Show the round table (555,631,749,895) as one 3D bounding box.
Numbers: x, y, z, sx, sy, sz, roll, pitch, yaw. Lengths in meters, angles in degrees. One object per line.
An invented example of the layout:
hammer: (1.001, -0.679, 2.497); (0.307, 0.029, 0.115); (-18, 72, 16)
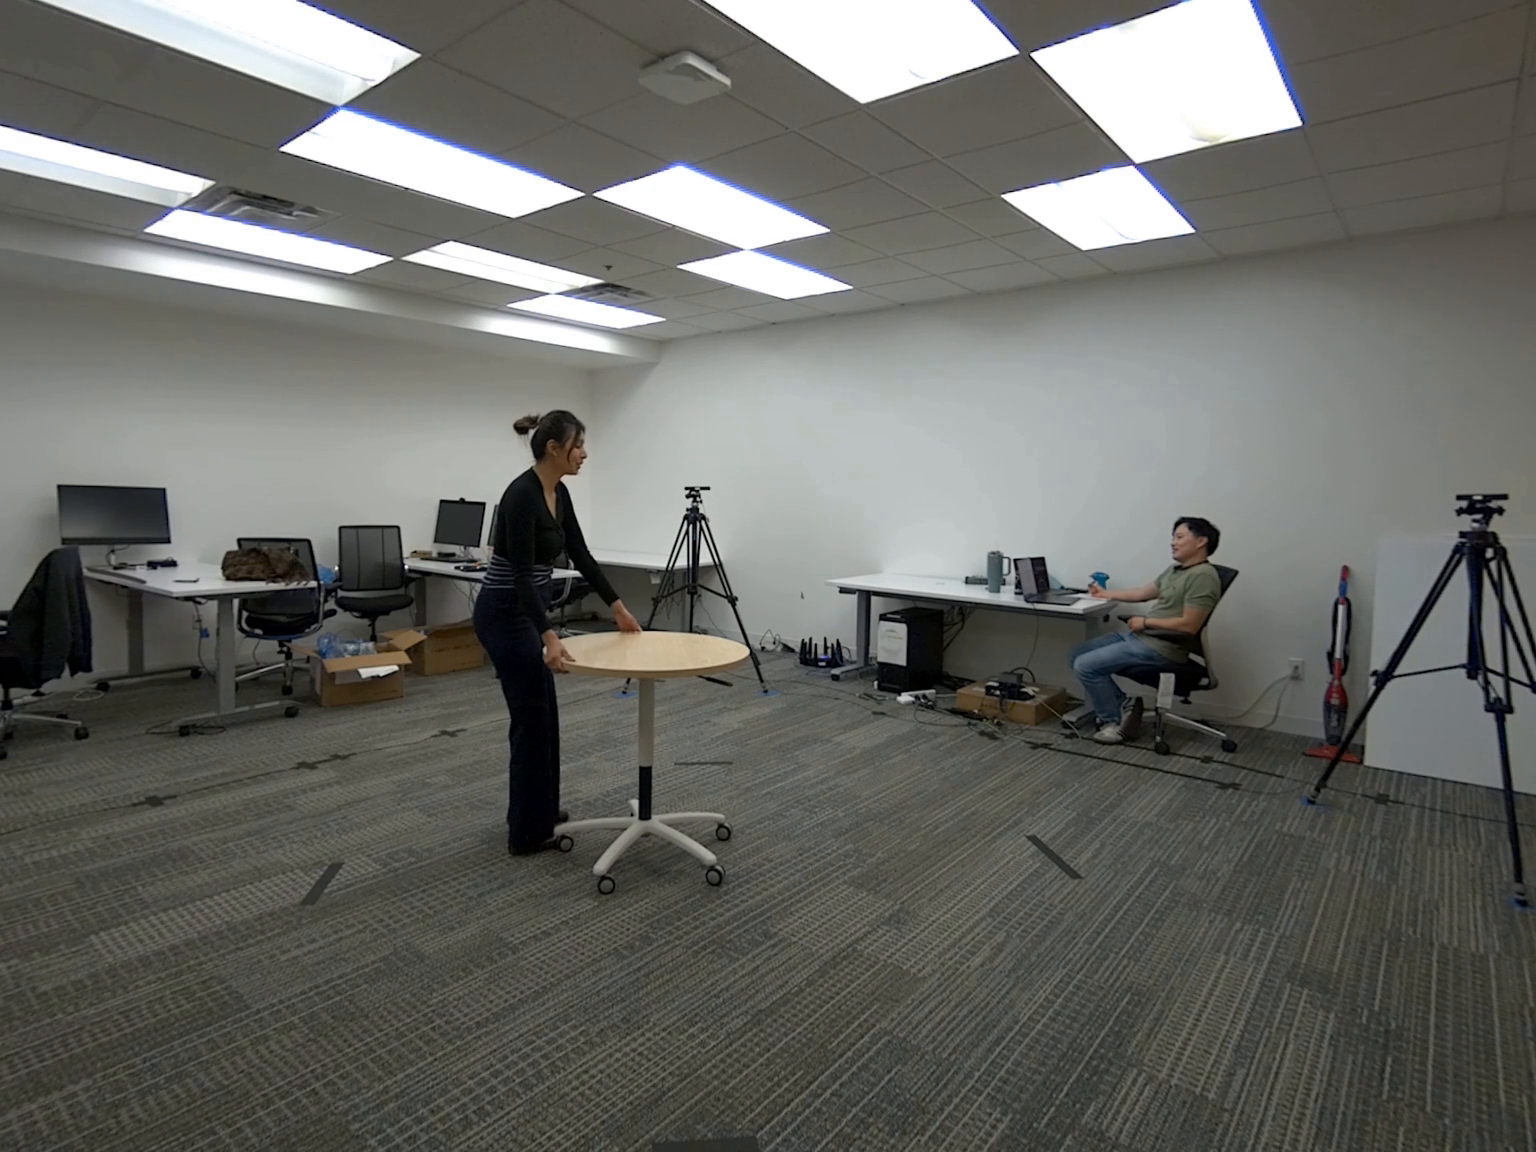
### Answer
round table: (-0.466, 0.665, 3.189); (0.763, 0.791, 0.768); (1, 4, -2)
